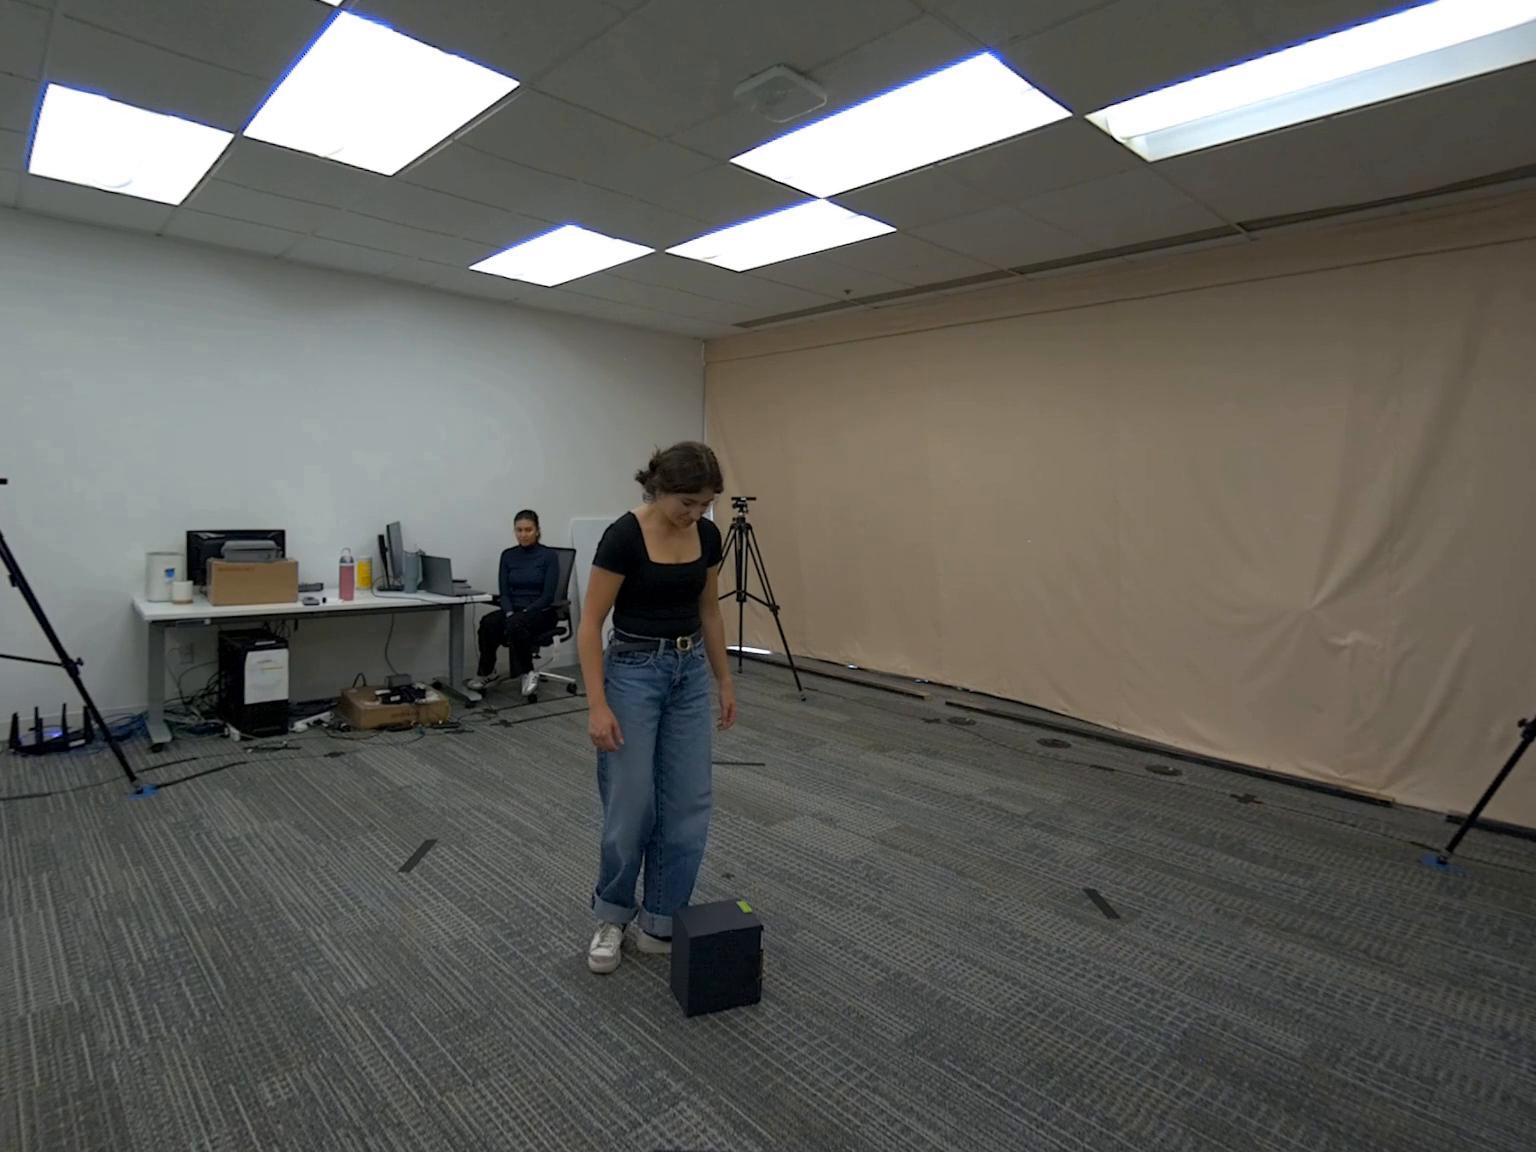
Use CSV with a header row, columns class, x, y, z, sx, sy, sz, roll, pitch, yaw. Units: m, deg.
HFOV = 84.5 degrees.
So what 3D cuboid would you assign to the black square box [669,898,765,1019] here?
class,x,y,z,sx,sy,sz,roll,pitch,yaw
black square box,-0.150,1.057,2.344,0.213,0.227,0.159,1,5,-23
